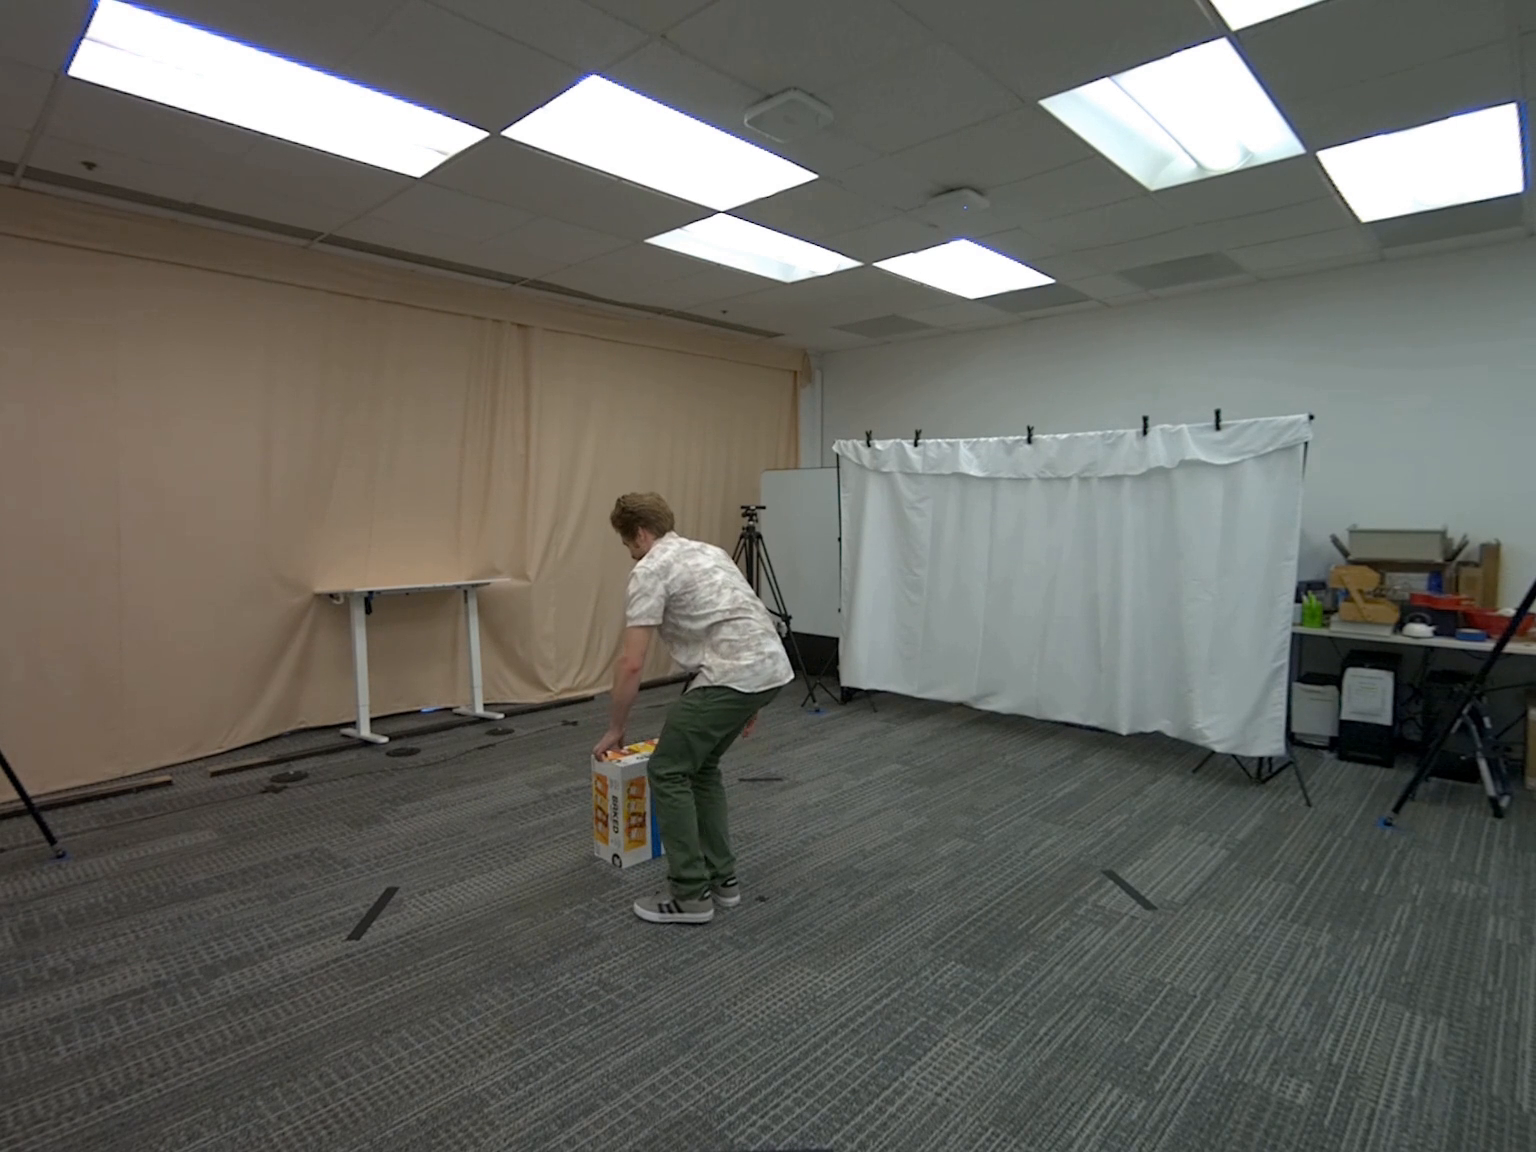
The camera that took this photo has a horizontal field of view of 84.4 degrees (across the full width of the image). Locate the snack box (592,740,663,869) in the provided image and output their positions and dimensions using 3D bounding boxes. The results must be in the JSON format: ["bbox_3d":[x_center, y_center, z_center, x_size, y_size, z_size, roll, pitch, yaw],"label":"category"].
[{"bbox_3d":[-0.515,0.910,3.406,0.330,0.404,0.212,-4,5,-44],"label":"snack box"}]
